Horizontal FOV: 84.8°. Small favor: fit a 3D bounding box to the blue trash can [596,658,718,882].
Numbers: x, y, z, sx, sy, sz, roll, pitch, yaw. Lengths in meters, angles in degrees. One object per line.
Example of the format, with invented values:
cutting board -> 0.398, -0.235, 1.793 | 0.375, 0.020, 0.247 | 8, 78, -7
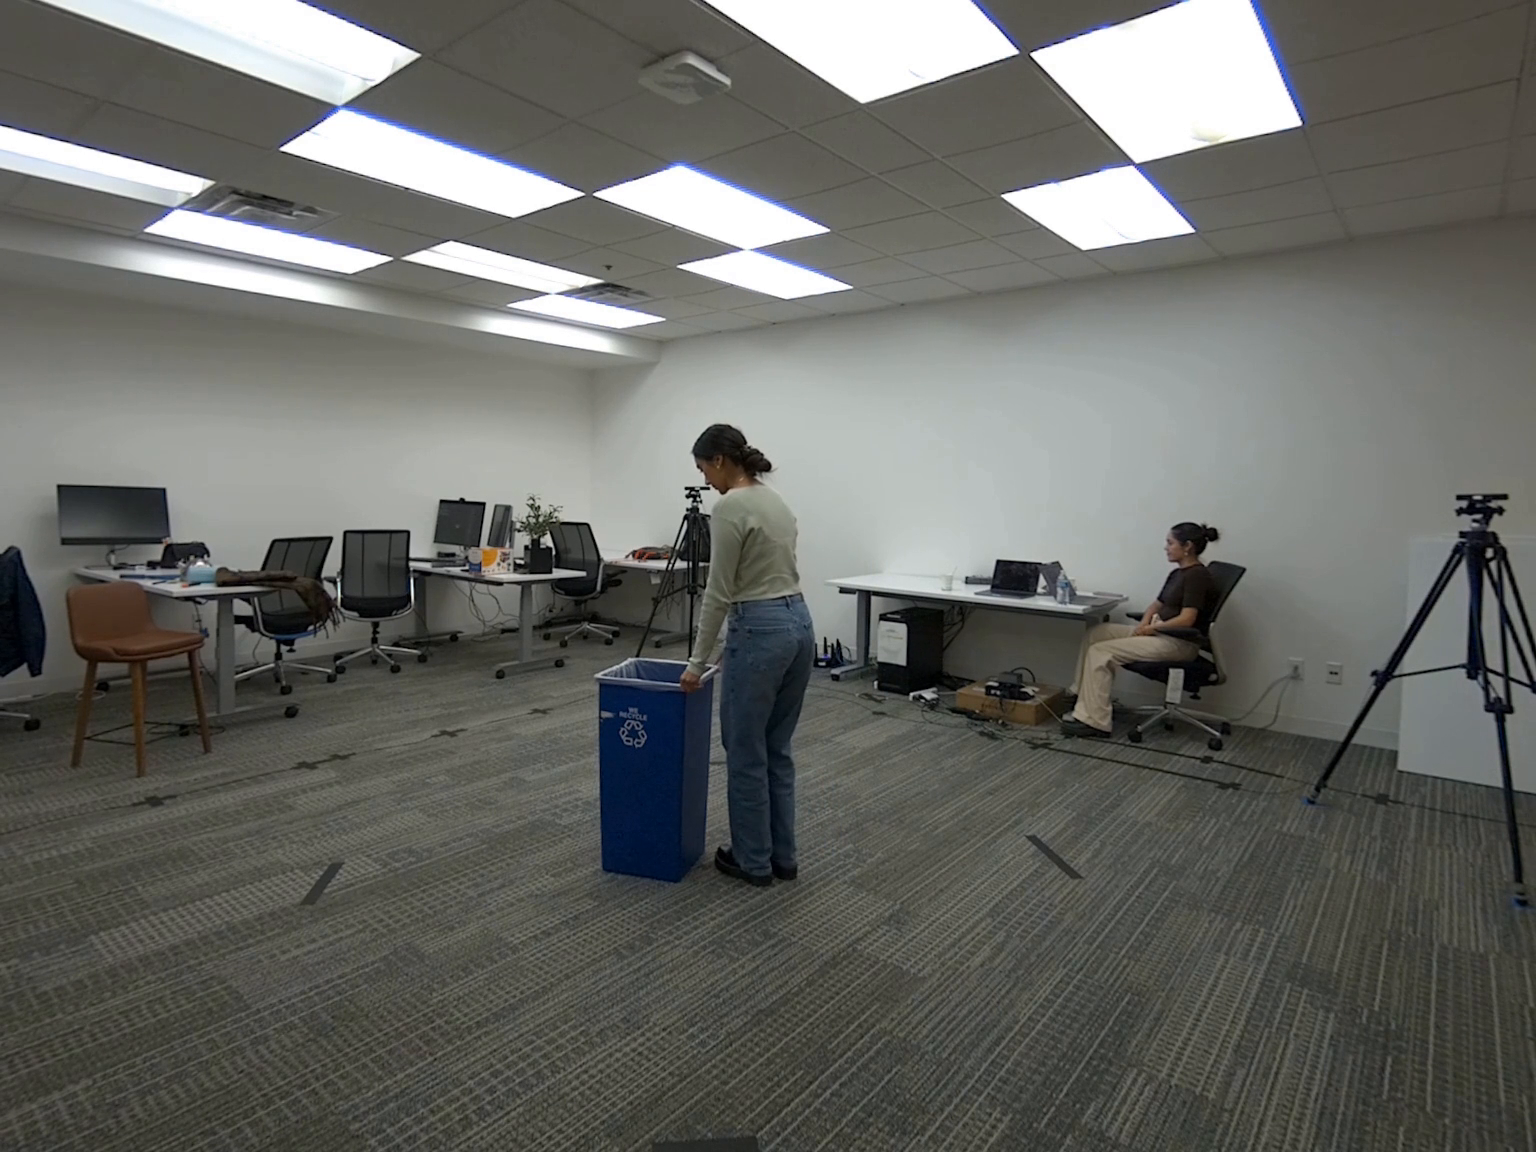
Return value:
blue trash can -> -0.418, 0.699, 3.151 | 0.381, 0.711, 0.372 | 2, 4, 16
